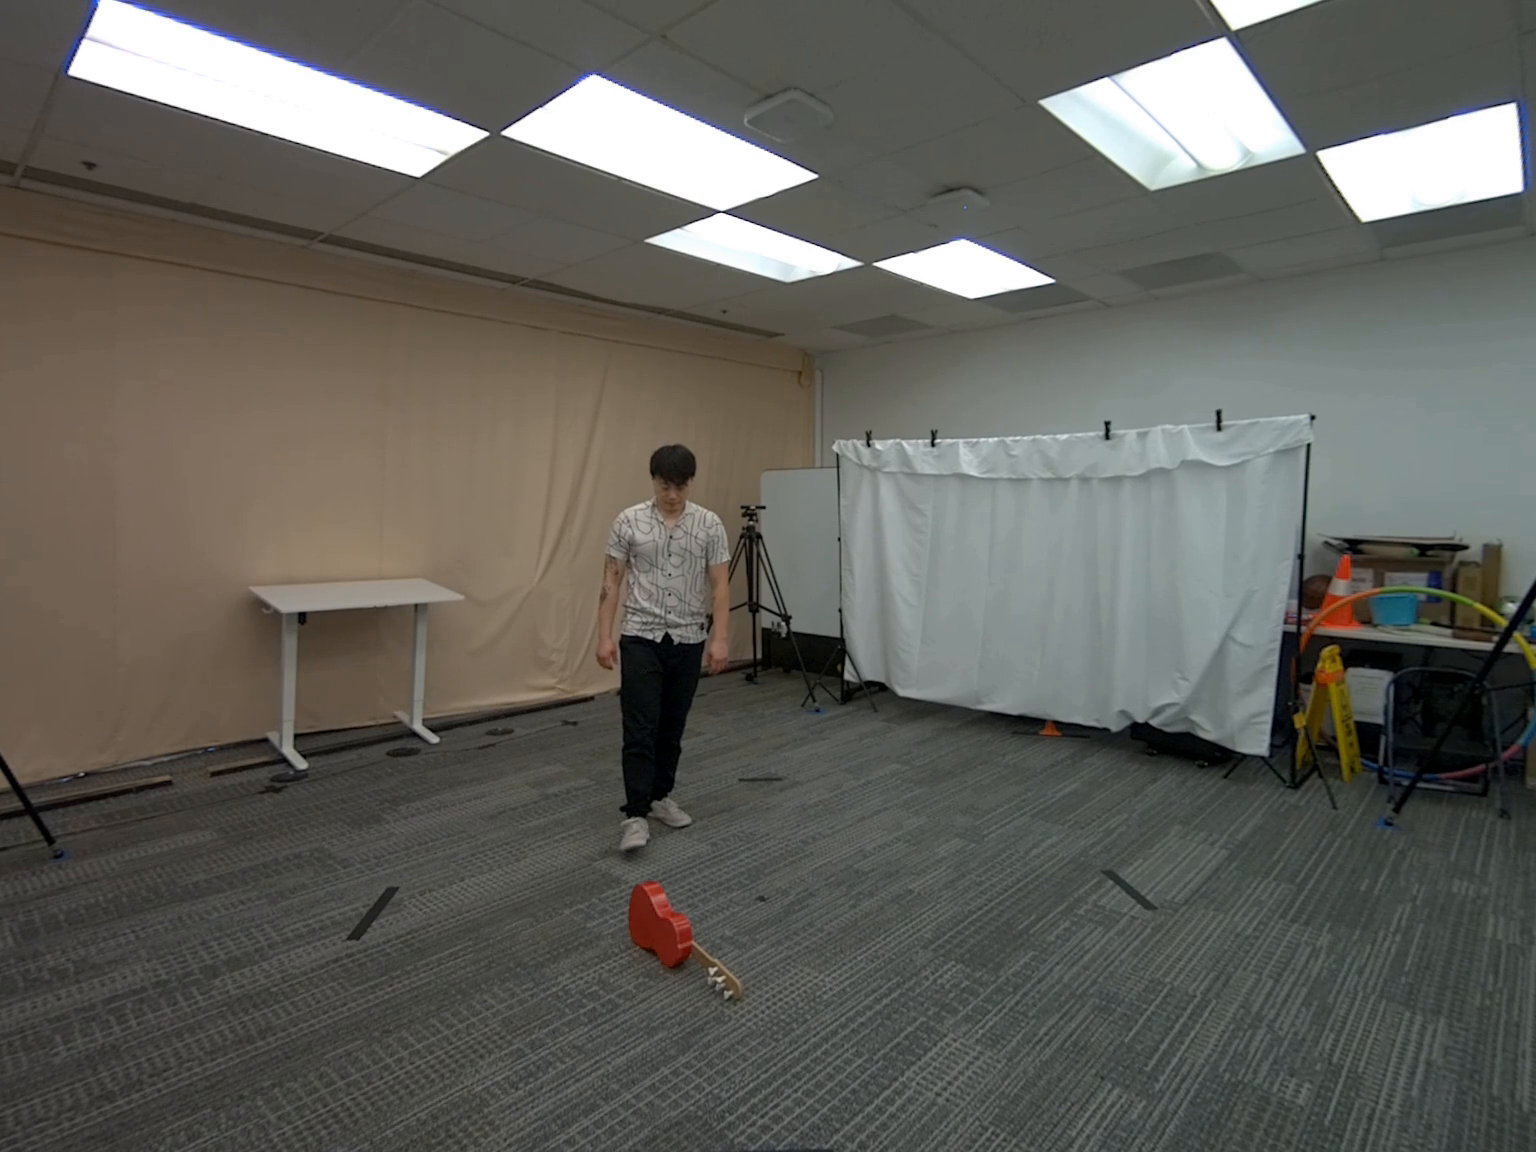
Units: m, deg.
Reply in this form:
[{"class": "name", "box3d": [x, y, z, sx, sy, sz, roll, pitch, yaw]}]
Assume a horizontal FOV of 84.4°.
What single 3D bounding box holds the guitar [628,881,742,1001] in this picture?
[{"class": "guitar", "box3d": [-0.255, 1.091, 2.532, 0.068, 0.193, 0.514, 1, 3, -41]}]
